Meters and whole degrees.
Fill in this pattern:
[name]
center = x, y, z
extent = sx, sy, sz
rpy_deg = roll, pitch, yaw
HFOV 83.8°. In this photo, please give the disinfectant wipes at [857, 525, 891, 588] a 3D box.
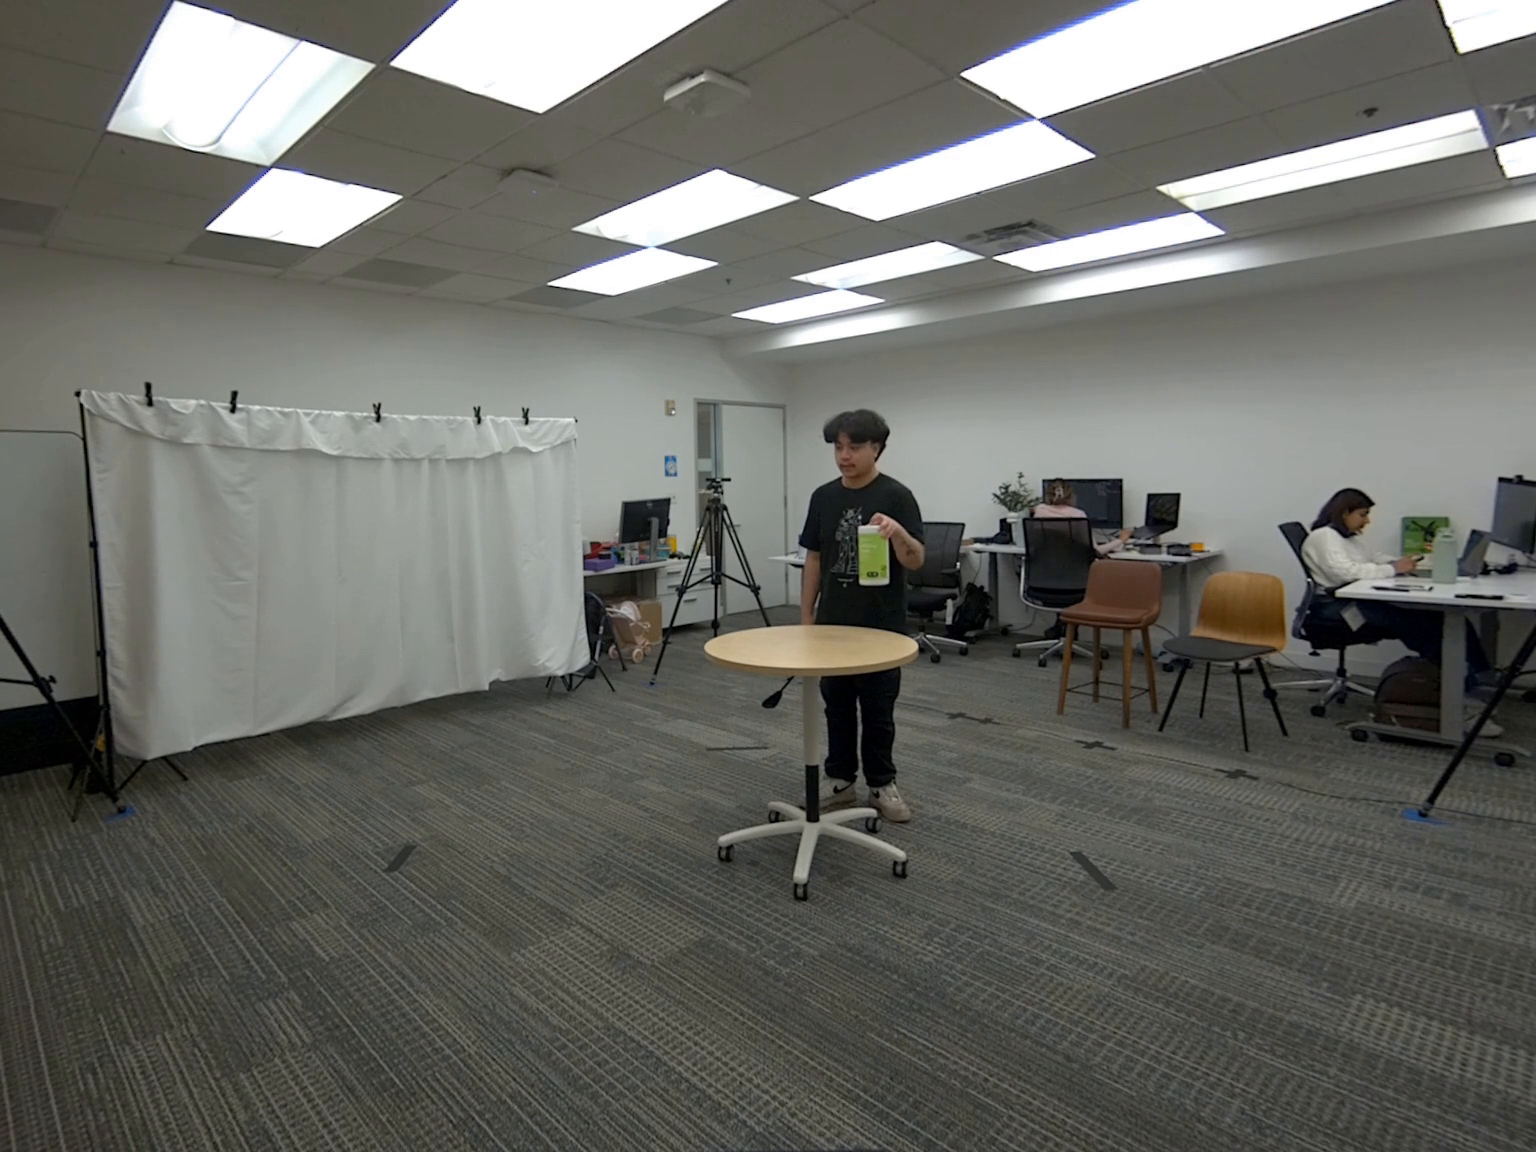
[disinfectant wipes]
center = 0.374, -0.073, 3.137
extent = 0.118, 0.217, 0.118
rpy_deg = -3, 2, -2
